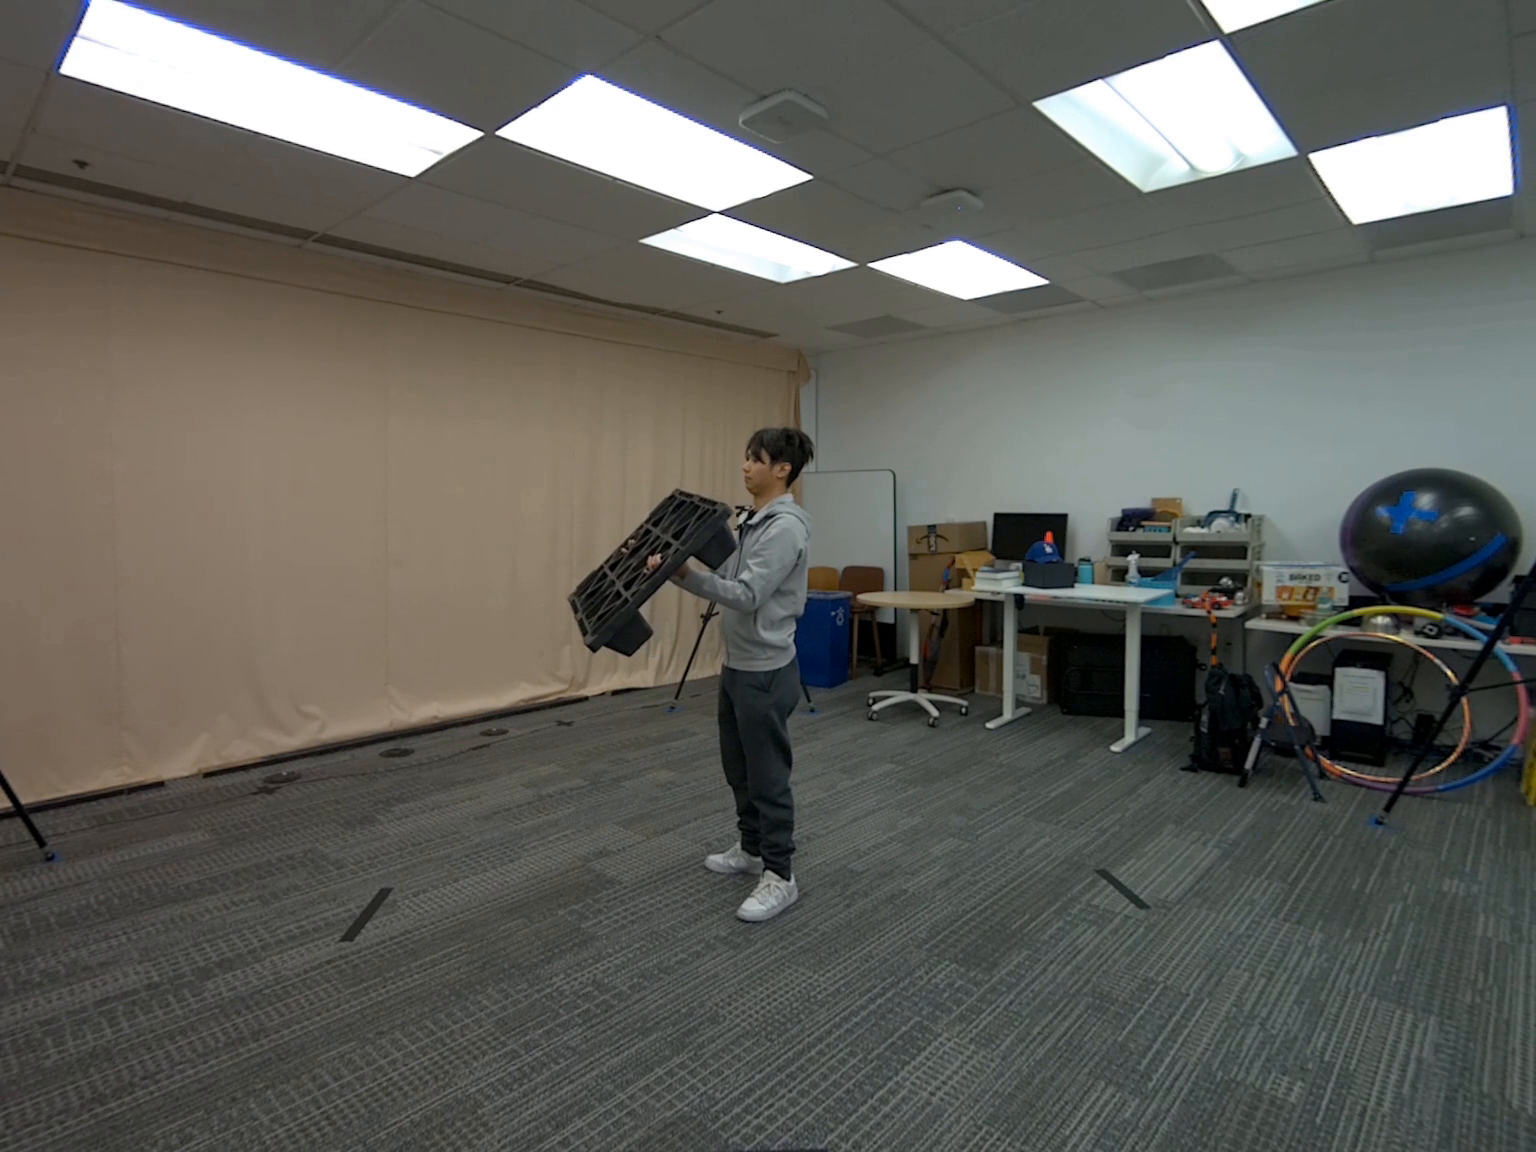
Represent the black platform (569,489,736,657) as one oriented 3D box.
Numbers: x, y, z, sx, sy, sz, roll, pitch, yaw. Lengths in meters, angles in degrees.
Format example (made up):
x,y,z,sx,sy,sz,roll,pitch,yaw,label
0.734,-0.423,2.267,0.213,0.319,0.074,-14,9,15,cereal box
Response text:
x,y,z,sx,sy,sz,roll,pitch,yaw,label
-0.402,-0.022,2.898,0.140,0.604,0.823,44,-5,-19,black platform
